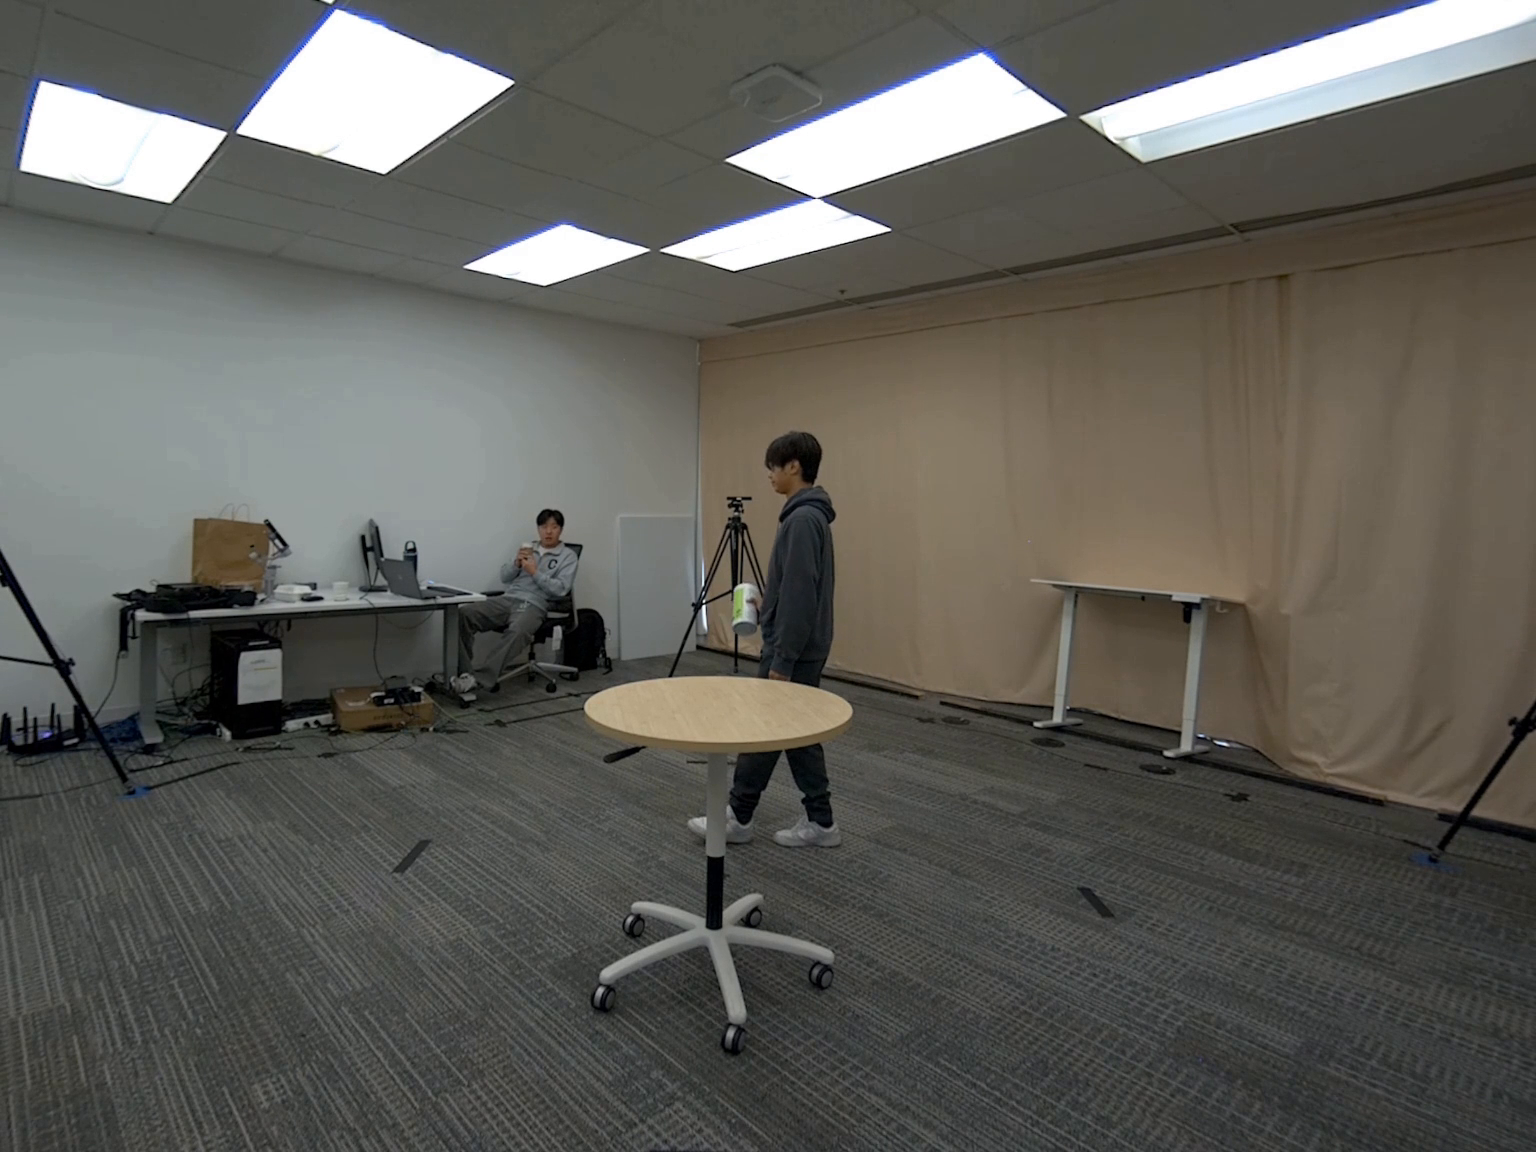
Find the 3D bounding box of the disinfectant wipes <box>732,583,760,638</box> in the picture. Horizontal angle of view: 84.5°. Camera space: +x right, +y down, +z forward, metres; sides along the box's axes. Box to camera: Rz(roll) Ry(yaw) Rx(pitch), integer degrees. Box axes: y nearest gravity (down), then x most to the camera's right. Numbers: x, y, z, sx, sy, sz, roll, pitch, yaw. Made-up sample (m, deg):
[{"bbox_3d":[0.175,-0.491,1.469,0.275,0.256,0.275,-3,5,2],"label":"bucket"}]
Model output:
[{"bbox_3d":[-0.107,0.146,3.683,0.118,0.222,0.115,2,-41,0],"label":"disinfectant wipes"}]
